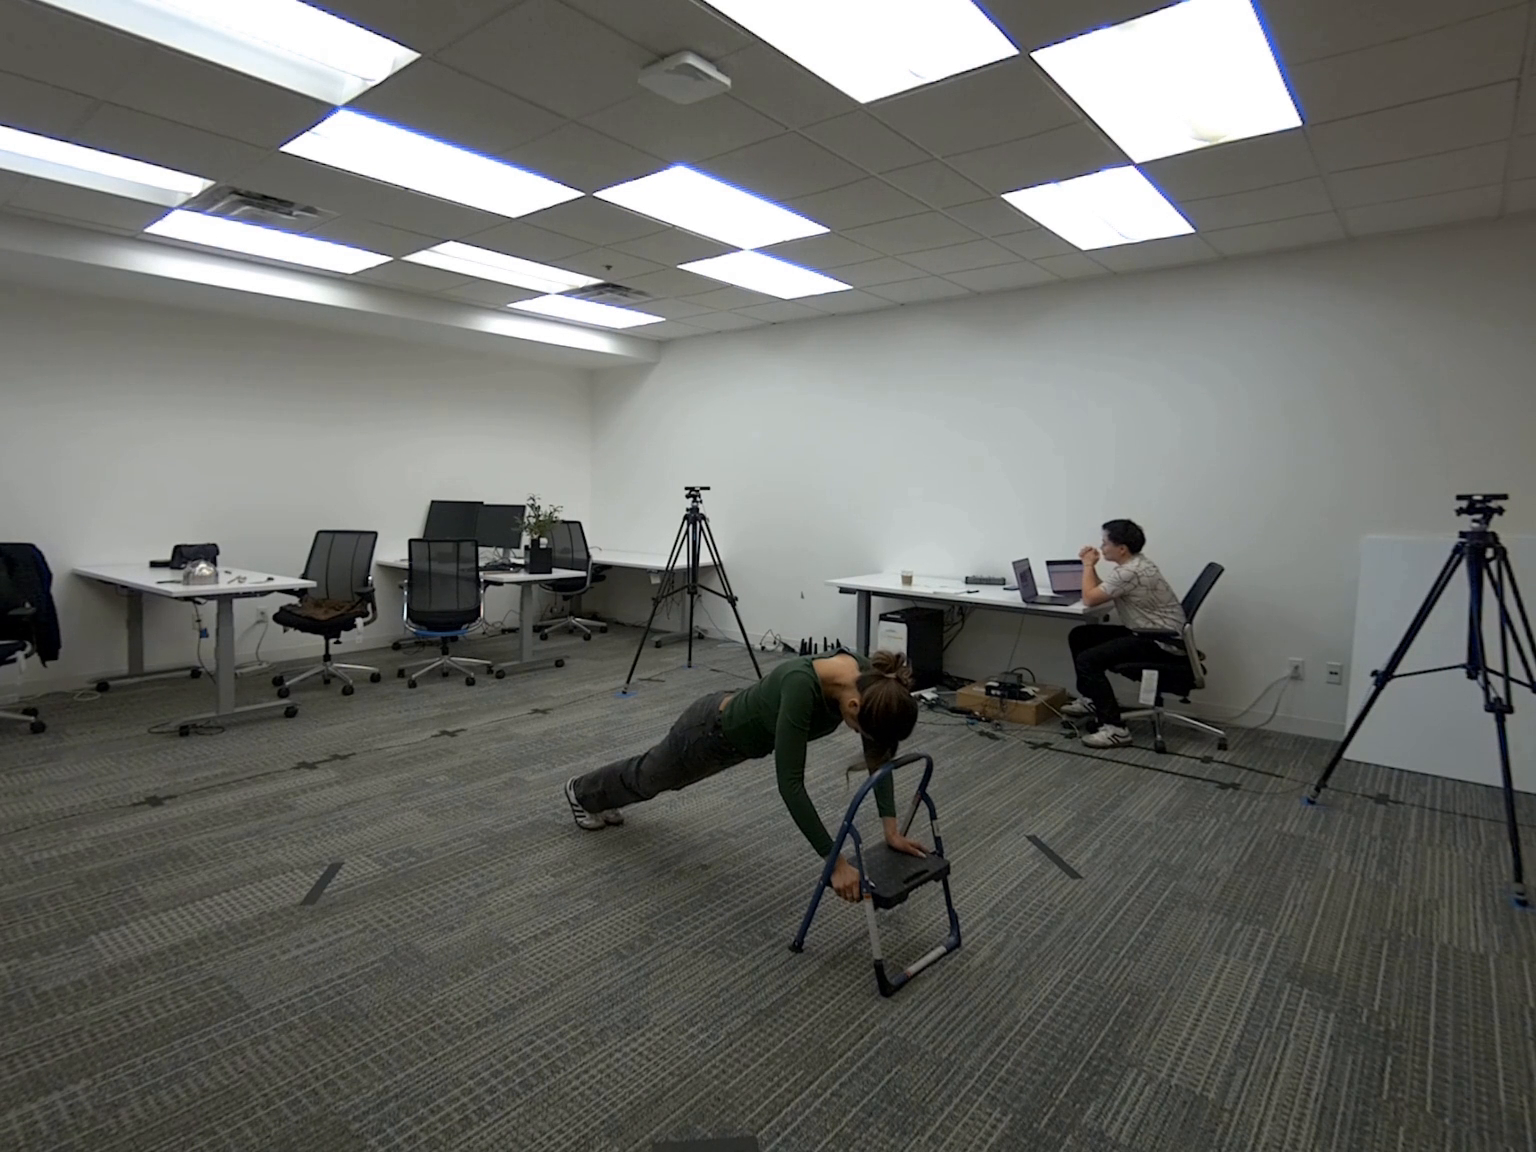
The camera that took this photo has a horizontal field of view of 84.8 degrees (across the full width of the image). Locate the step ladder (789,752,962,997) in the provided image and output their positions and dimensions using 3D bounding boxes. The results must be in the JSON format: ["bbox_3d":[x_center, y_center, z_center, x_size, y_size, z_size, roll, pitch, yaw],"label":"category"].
[{"bbox_3d":[0.333,0.828,2.577,0.361,0.604,0.418,5,5,42],"label":"step ladder"}]
